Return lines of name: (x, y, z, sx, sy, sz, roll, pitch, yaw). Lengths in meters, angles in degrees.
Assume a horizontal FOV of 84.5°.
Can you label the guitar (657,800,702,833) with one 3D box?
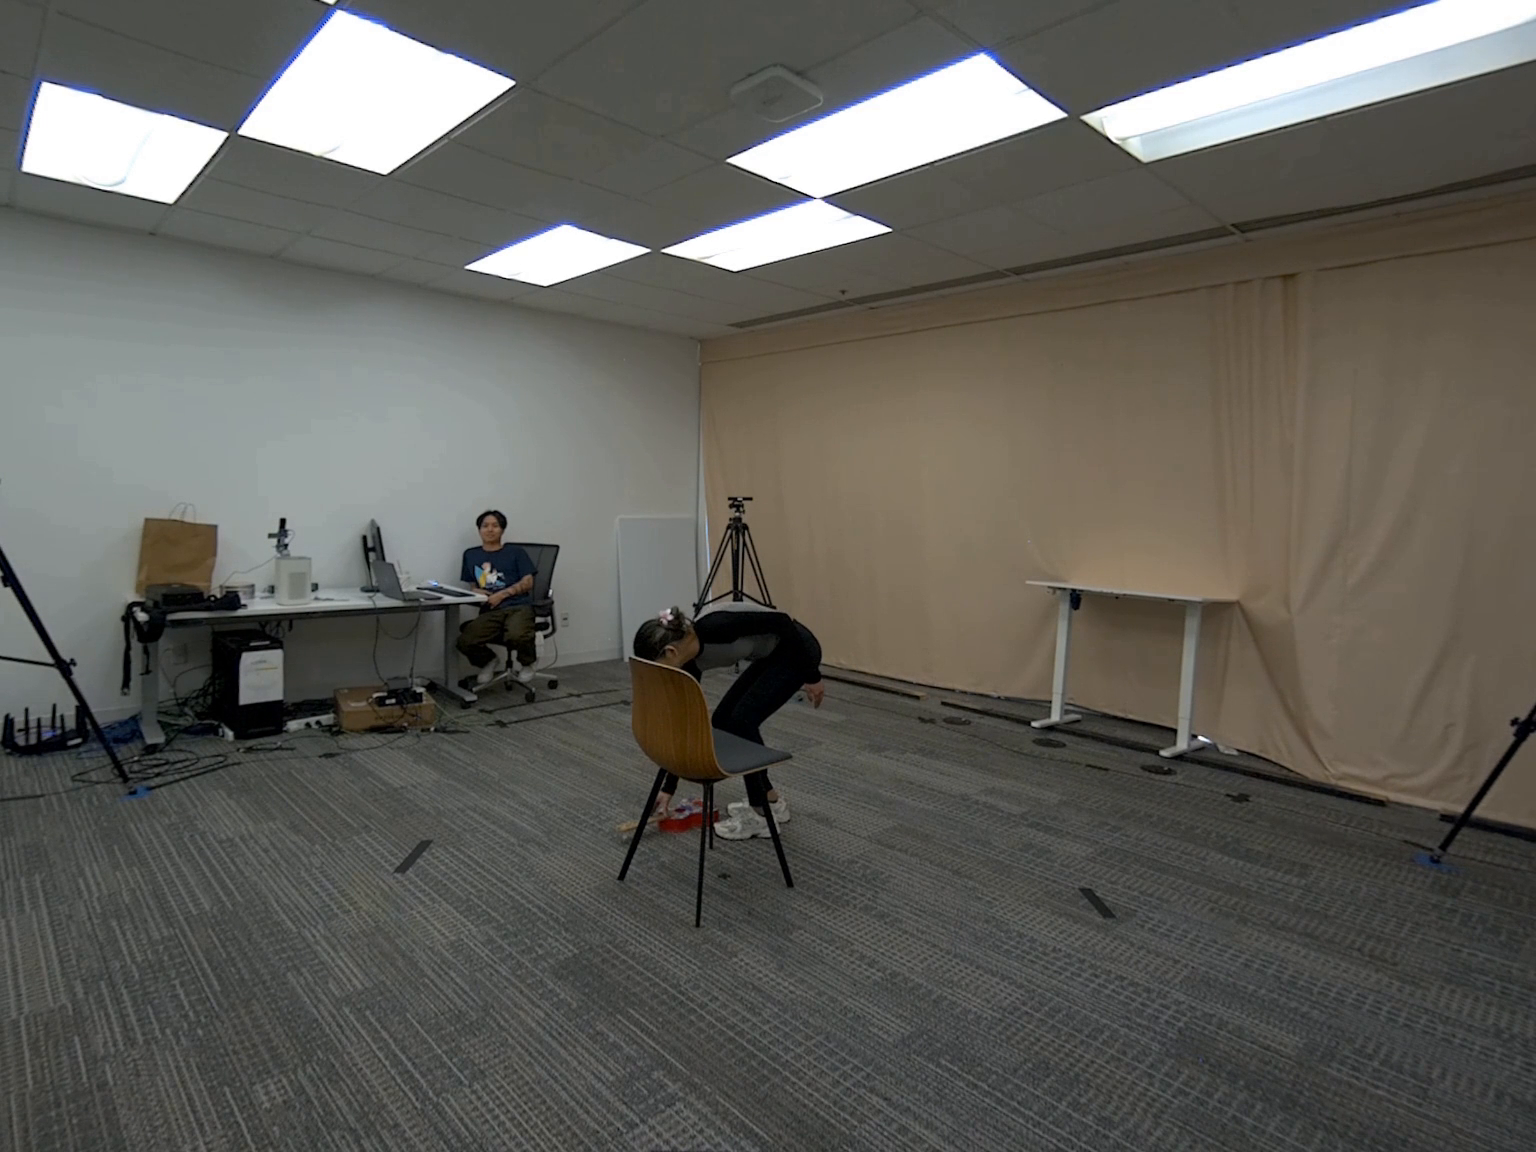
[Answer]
guitar: (-0.449, 1.026, 3.562, 0.487, 0.070, 0.198, -2, 6, -37)
